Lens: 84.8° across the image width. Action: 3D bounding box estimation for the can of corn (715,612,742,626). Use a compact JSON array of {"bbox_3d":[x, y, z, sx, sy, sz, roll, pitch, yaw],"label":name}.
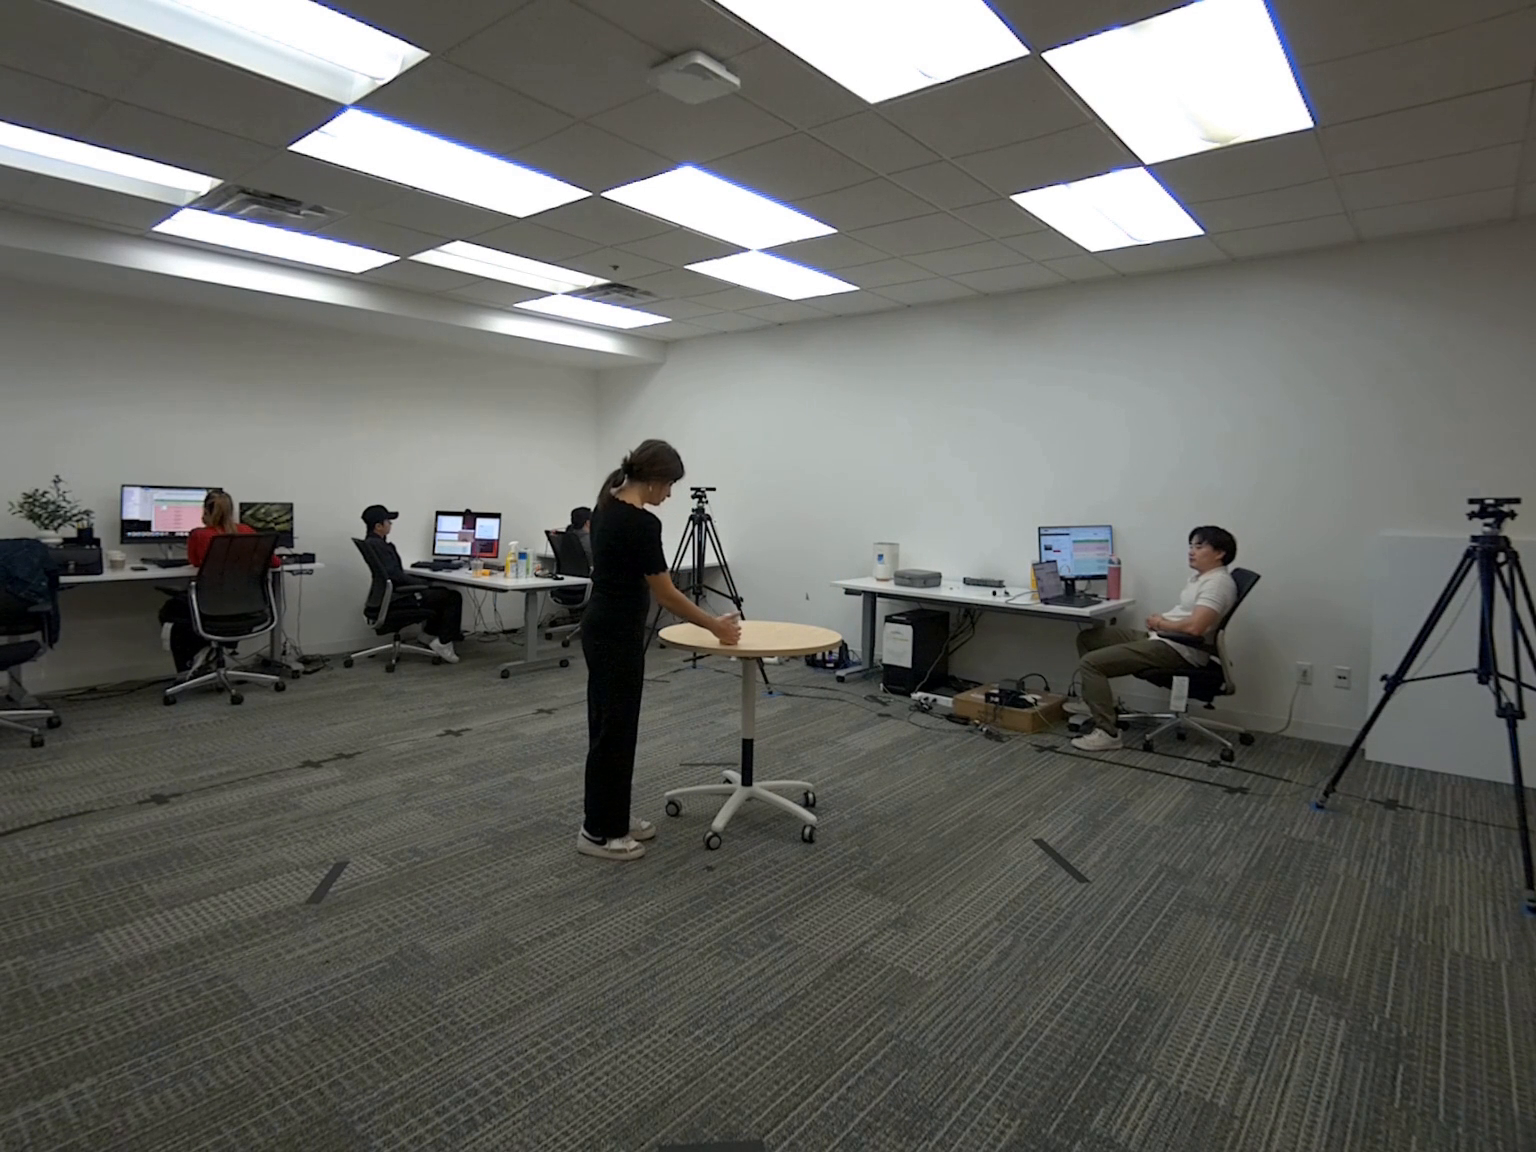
[{"bbox_3d":[-0.165,0.207,3.324,0.074,0.110,0.074,0,5,-2],"label":"can of corn"}]
